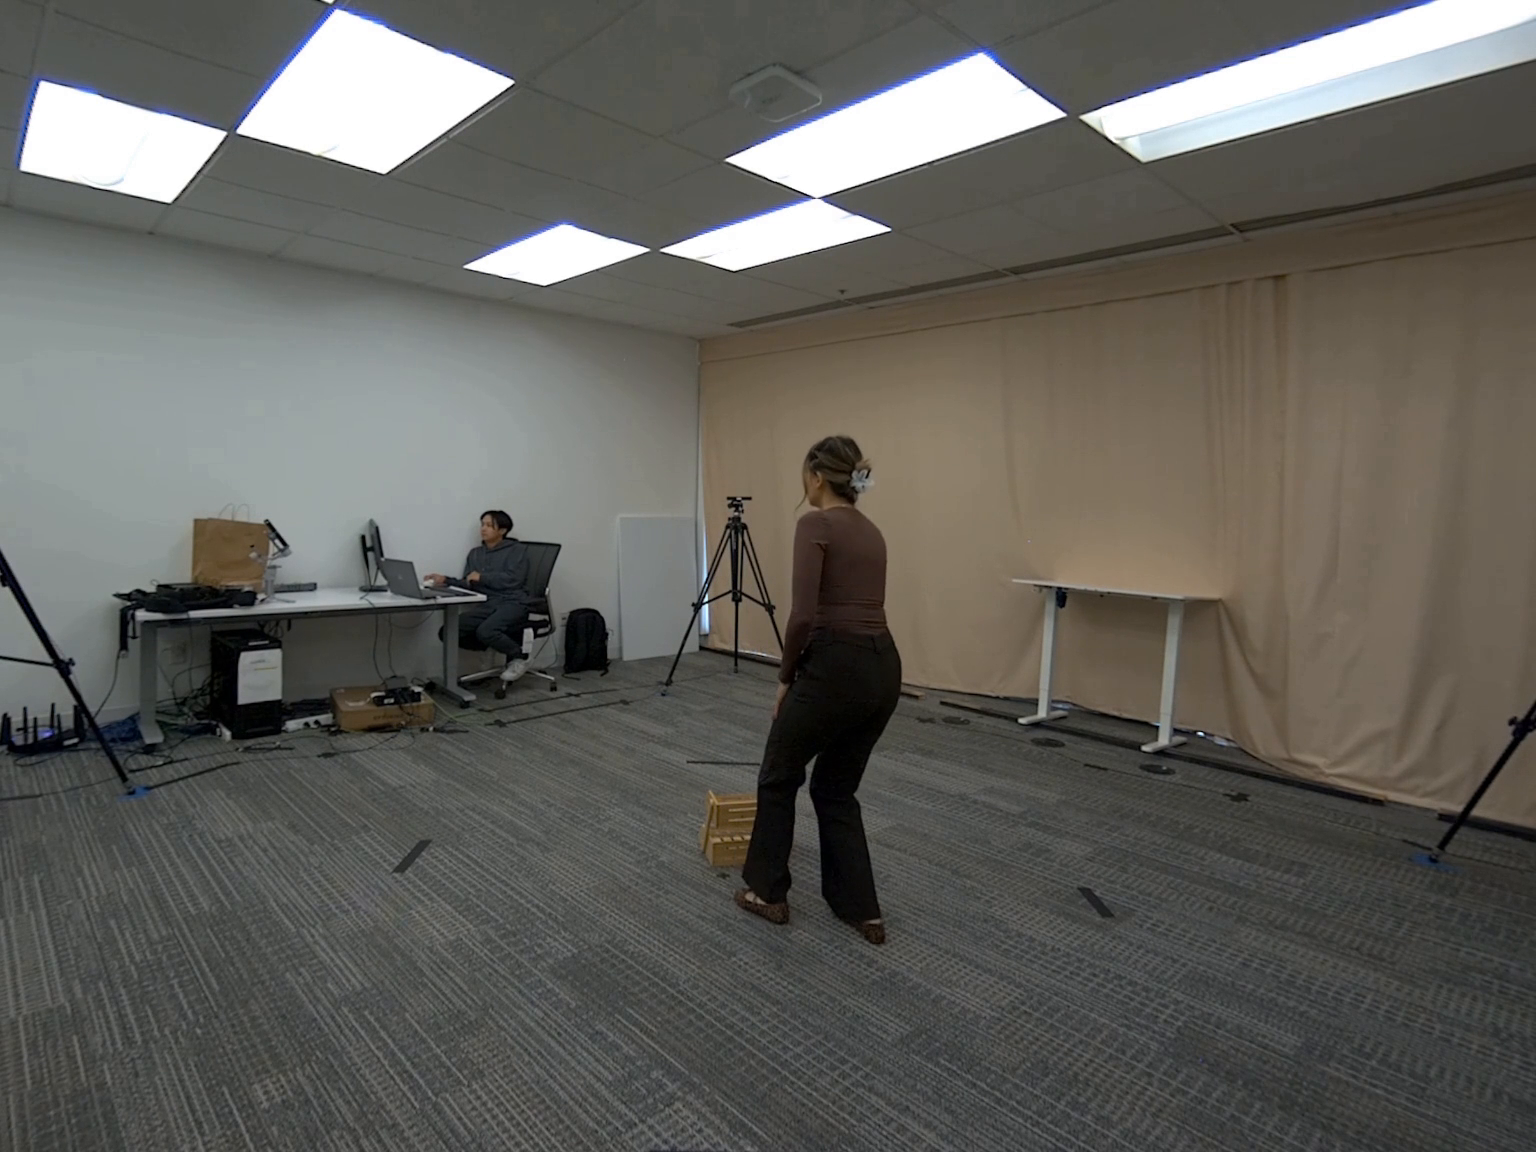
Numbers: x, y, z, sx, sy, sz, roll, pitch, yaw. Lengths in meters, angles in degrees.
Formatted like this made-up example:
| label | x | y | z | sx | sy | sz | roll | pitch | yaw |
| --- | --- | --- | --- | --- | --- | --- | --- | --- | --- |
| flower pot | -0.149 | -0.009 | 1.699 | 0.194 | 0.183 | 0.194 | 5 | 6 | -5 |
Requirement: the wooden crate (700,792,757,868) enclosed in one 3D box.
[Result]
| label | x | y | z | sx | sy | sz | roll | pitch | yaw |
| --- | --- | --- | --- | --- | --- | --- | --- | --- | --- |
| wooden crate | -0.098 | 0.961 | 3.301 | 0.321 | 0.272 | 0.306 | 1 | 5 | -15 |
